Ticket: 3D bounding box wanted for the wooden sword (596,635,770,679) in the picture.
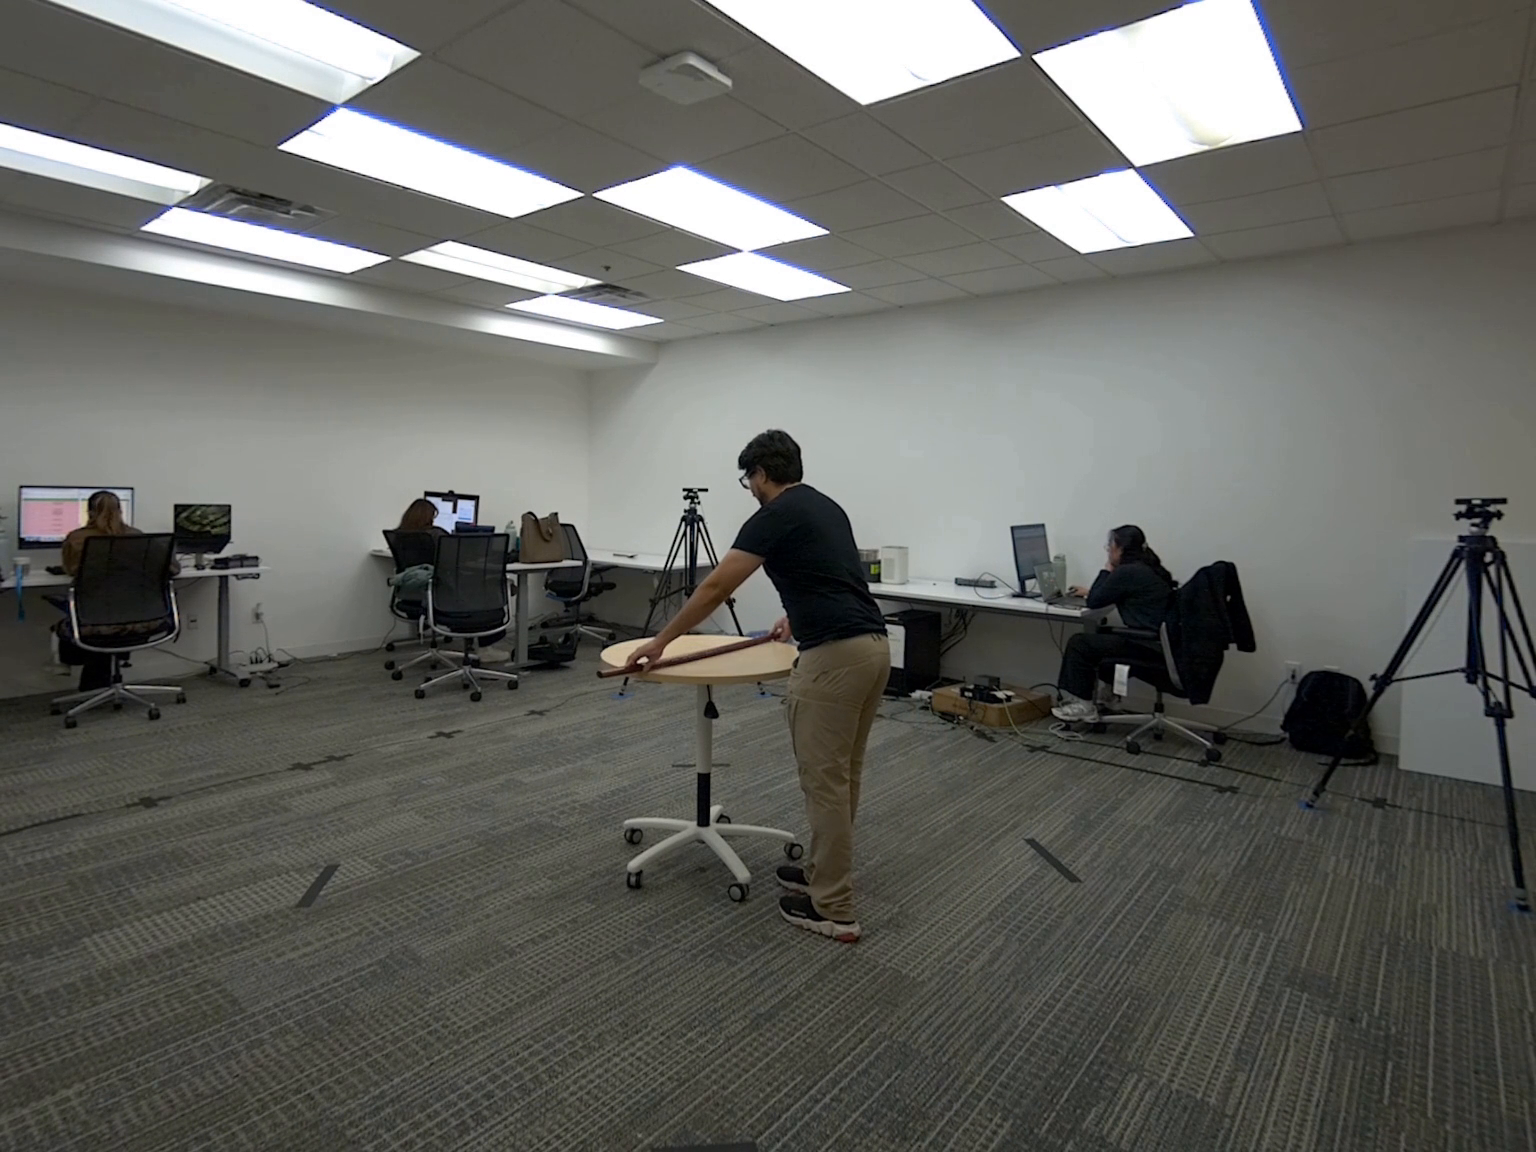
[{"bbox_3d":[-0.238,0.278,3.095,0.995,0.052,0.024,-7,-24,-49],"label":"wooden sword"}]
